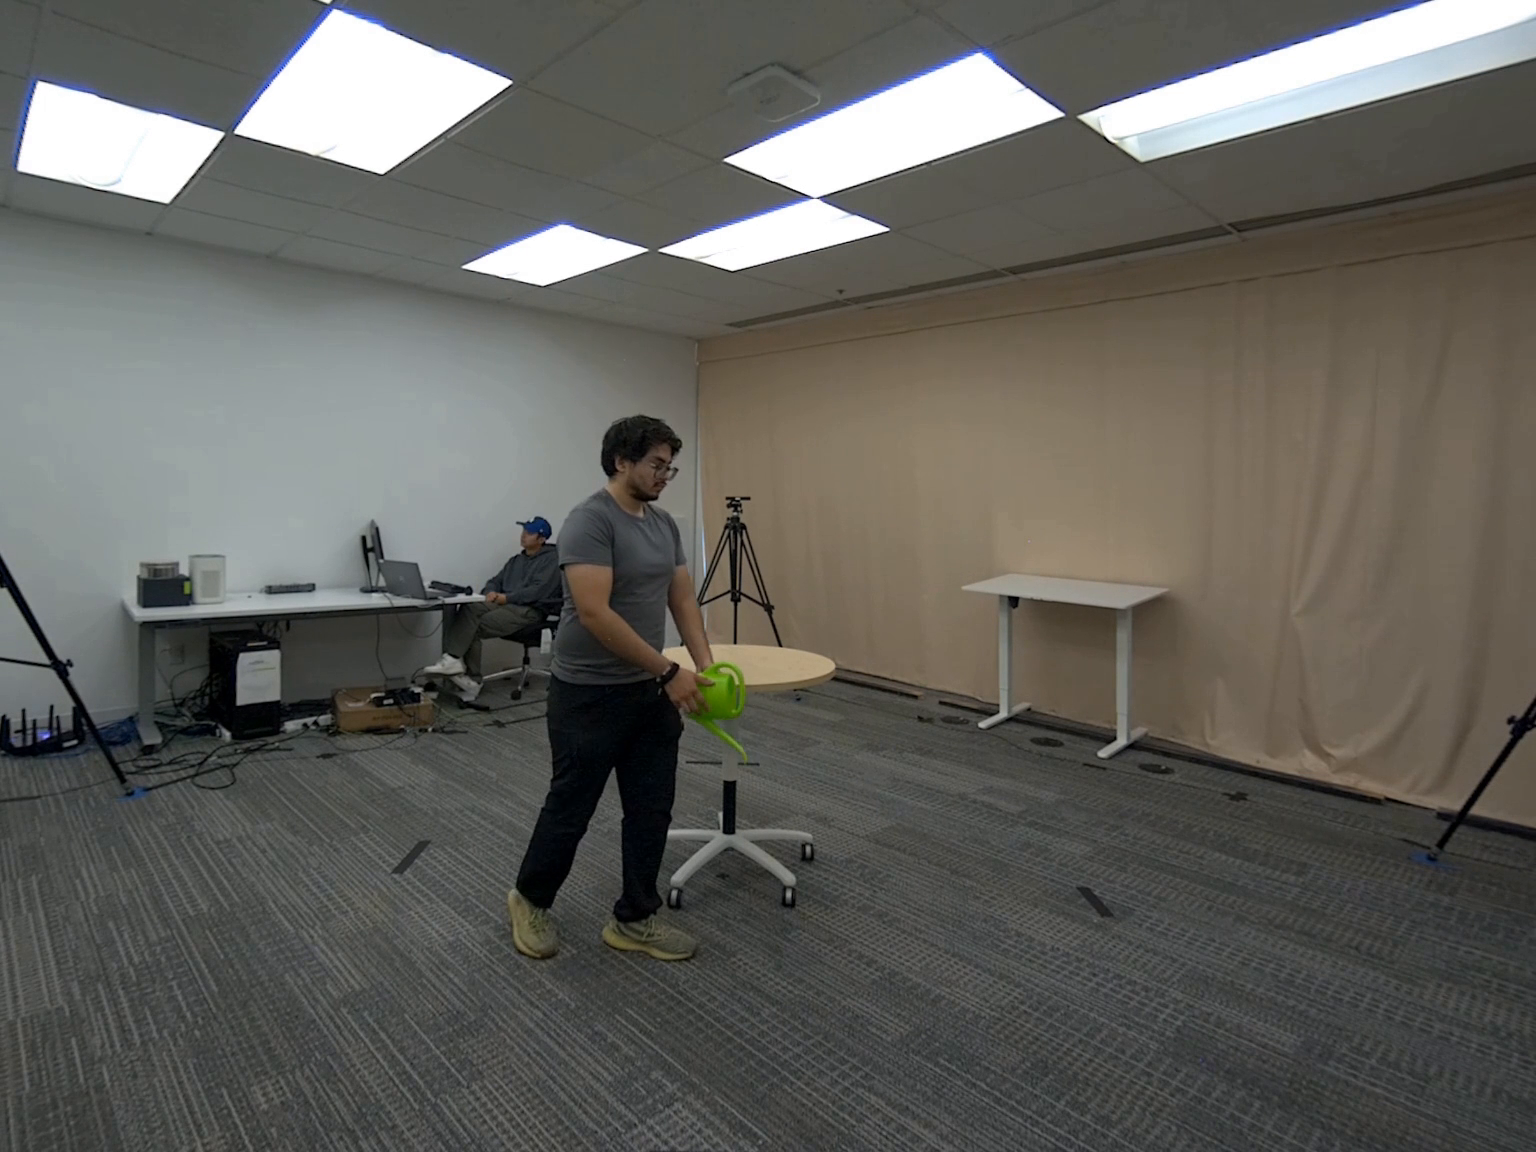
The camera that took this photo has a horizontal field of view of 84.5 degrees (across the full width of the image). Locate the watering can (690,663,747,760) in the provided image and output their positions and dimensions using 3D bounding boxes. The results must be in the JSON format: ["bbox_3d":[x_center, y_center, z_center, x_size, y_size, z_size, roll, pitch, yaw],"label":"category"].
[{"bbox_3d":[-0.159,0.385,2.360,0.179,0.282,0.095,-5,-18,17],"label":"watering can"}]
